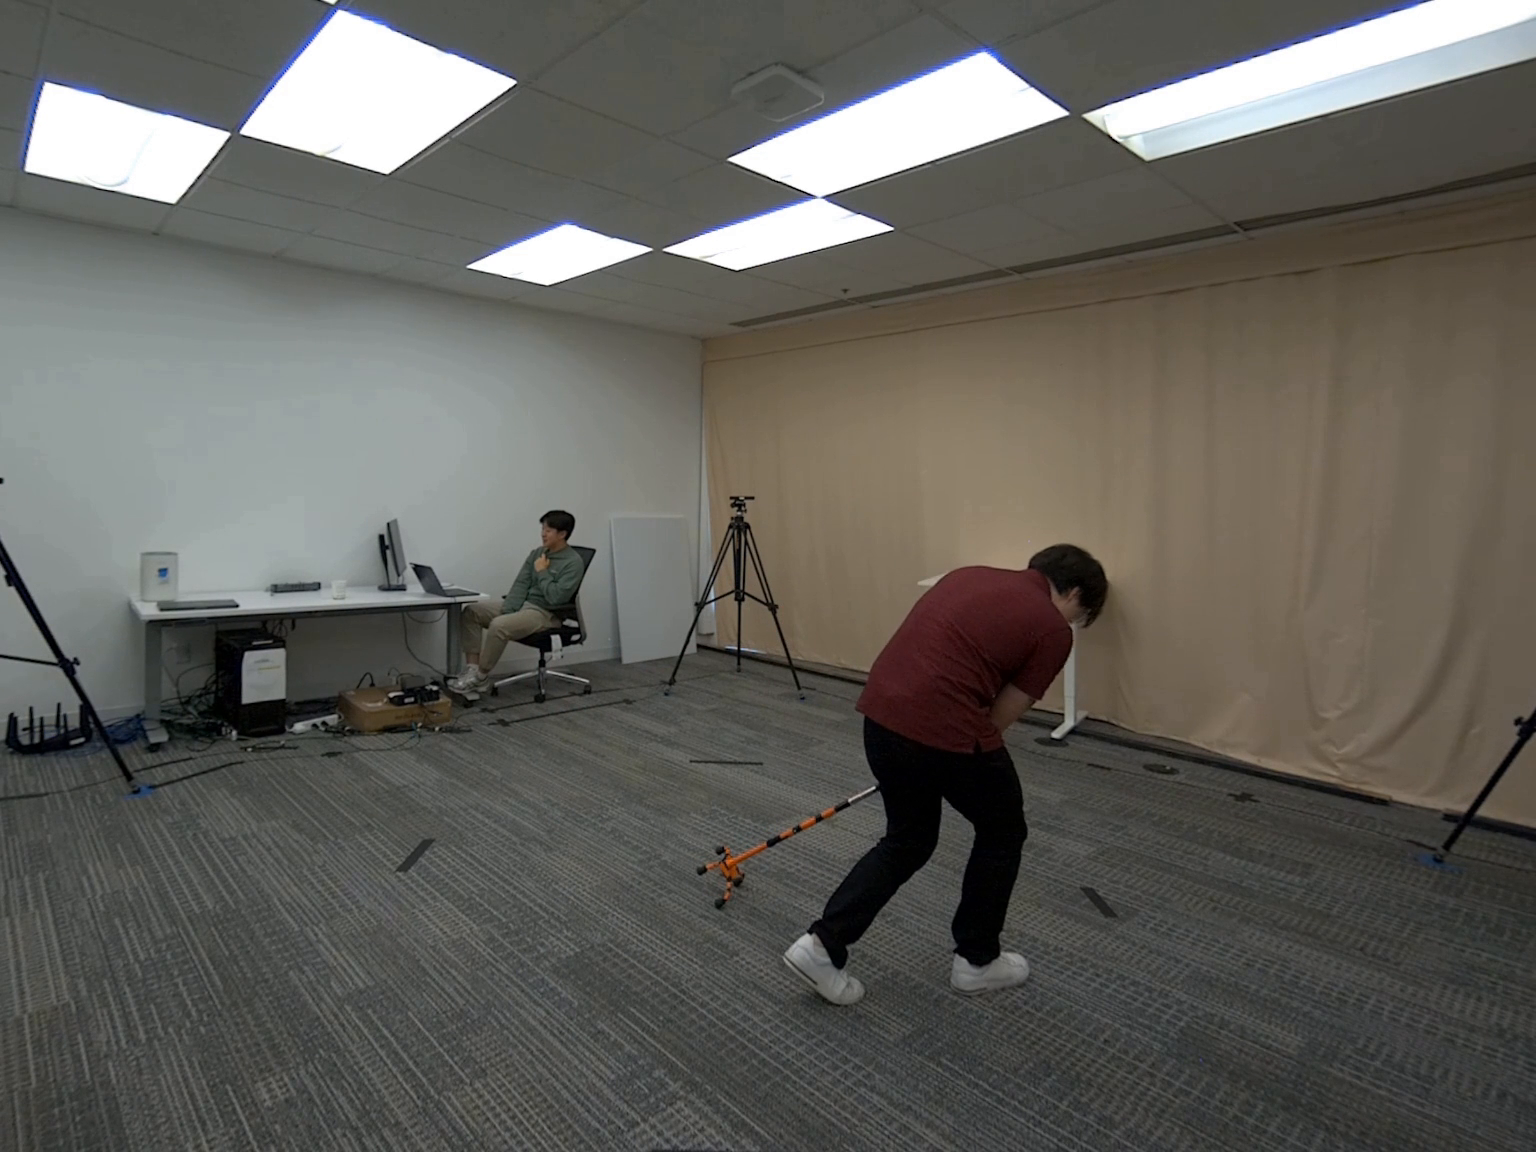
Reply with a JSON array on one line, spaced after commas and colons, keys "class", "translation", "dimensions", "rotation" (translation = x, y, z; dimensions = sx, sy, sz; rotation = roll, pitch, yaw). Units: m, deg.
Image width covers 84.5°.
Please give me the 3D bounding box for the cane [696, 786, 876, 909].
[{"class": "cane", "translation": [0.178, 0.815, 2.809], "dimensions": [0.912, 0.153, 0.204], "rotation": [-33, -6, 18]}]
